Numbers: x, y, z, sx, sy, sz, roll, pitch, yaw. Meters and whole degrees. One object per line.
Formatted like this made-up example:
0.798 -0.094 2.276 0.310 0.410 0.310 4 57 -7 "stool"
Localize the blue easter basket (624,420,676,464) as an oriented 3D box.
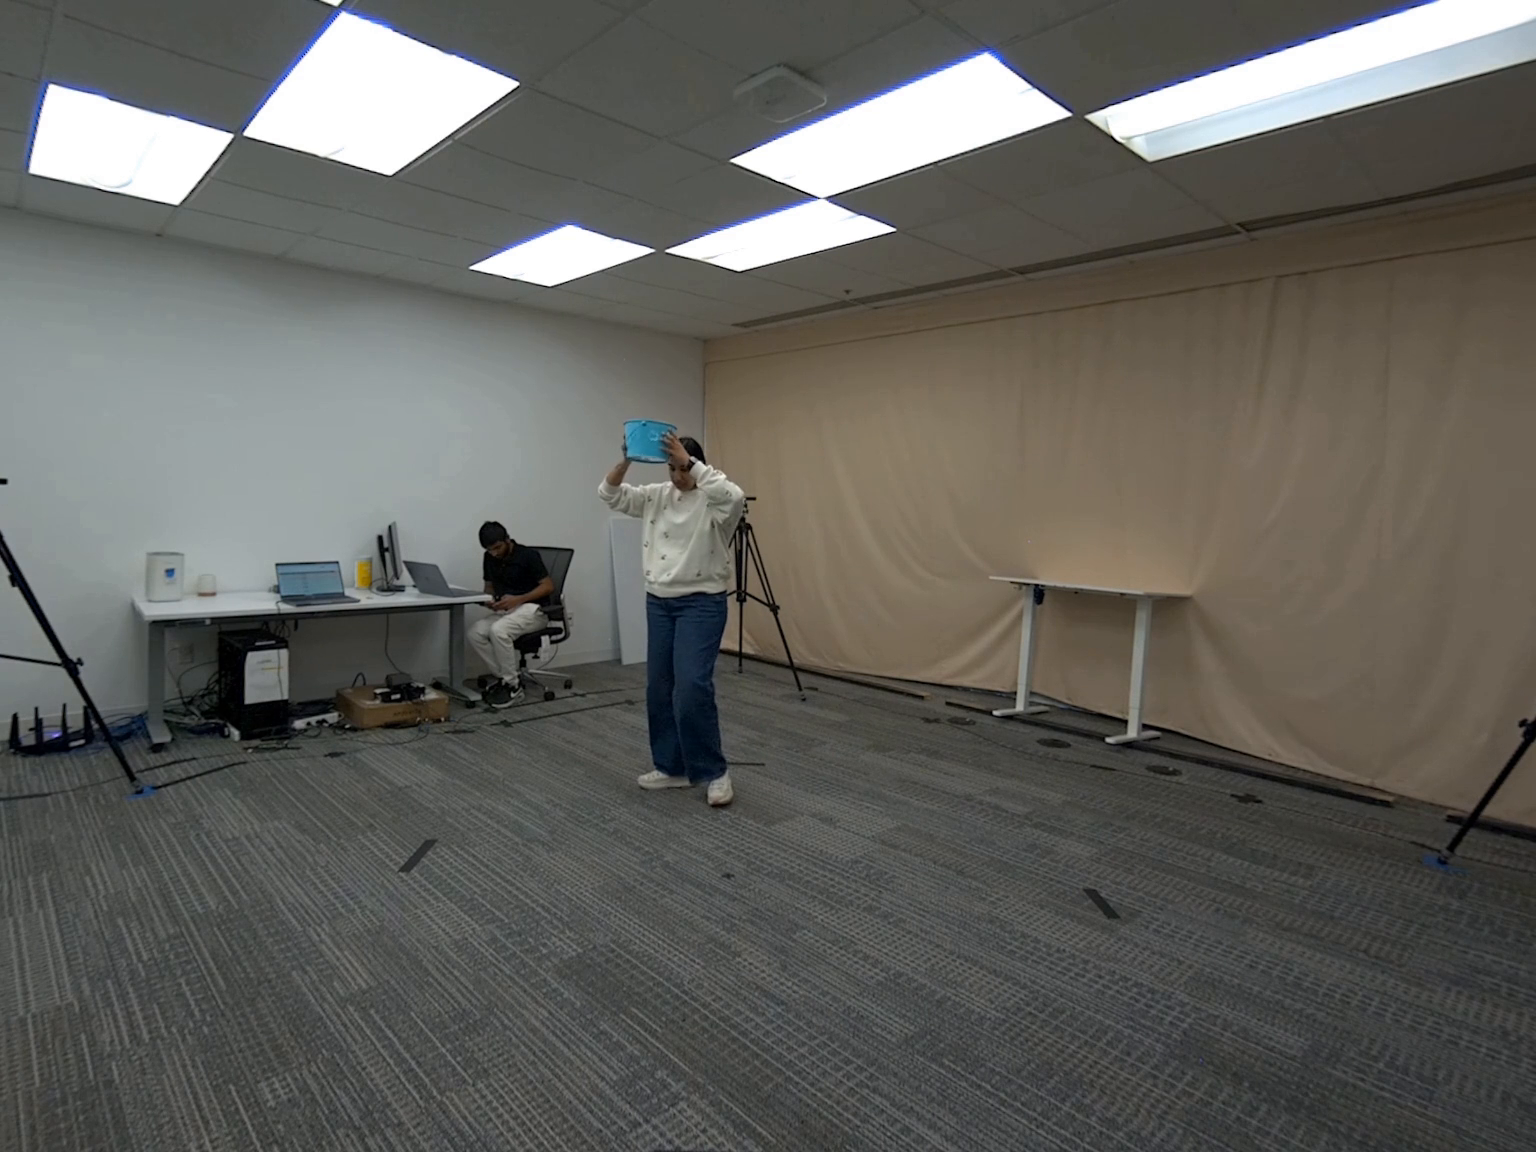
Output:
-0.534 -0.593 3.705 0.243 0.156 0.243 5 -1 -1 "blue easter basket"
